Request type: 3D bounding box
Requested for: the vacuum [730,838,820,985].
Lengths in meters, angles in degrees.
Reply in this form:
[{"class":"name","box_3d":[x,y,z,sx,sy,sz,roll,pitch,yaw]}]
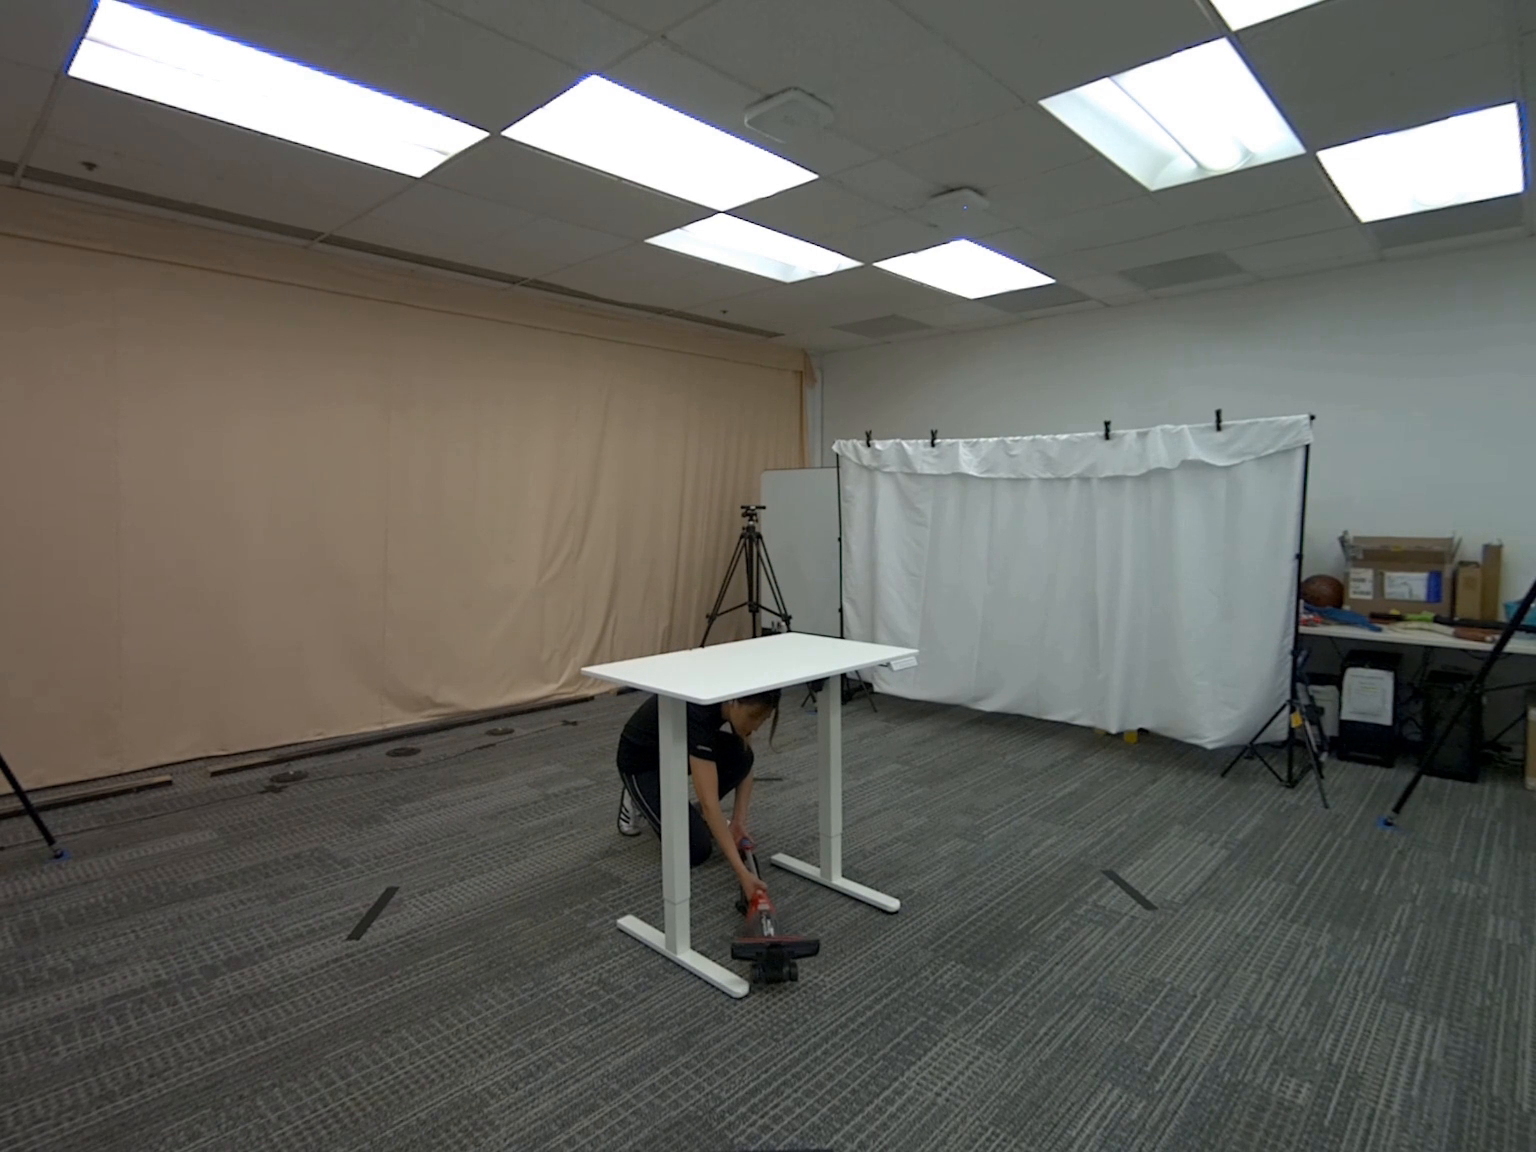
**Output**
[{"class":"vacuum","box_3d":[-0.041,1.080,2.892,0.251,0.144,1.056,1,1,-7]}]
